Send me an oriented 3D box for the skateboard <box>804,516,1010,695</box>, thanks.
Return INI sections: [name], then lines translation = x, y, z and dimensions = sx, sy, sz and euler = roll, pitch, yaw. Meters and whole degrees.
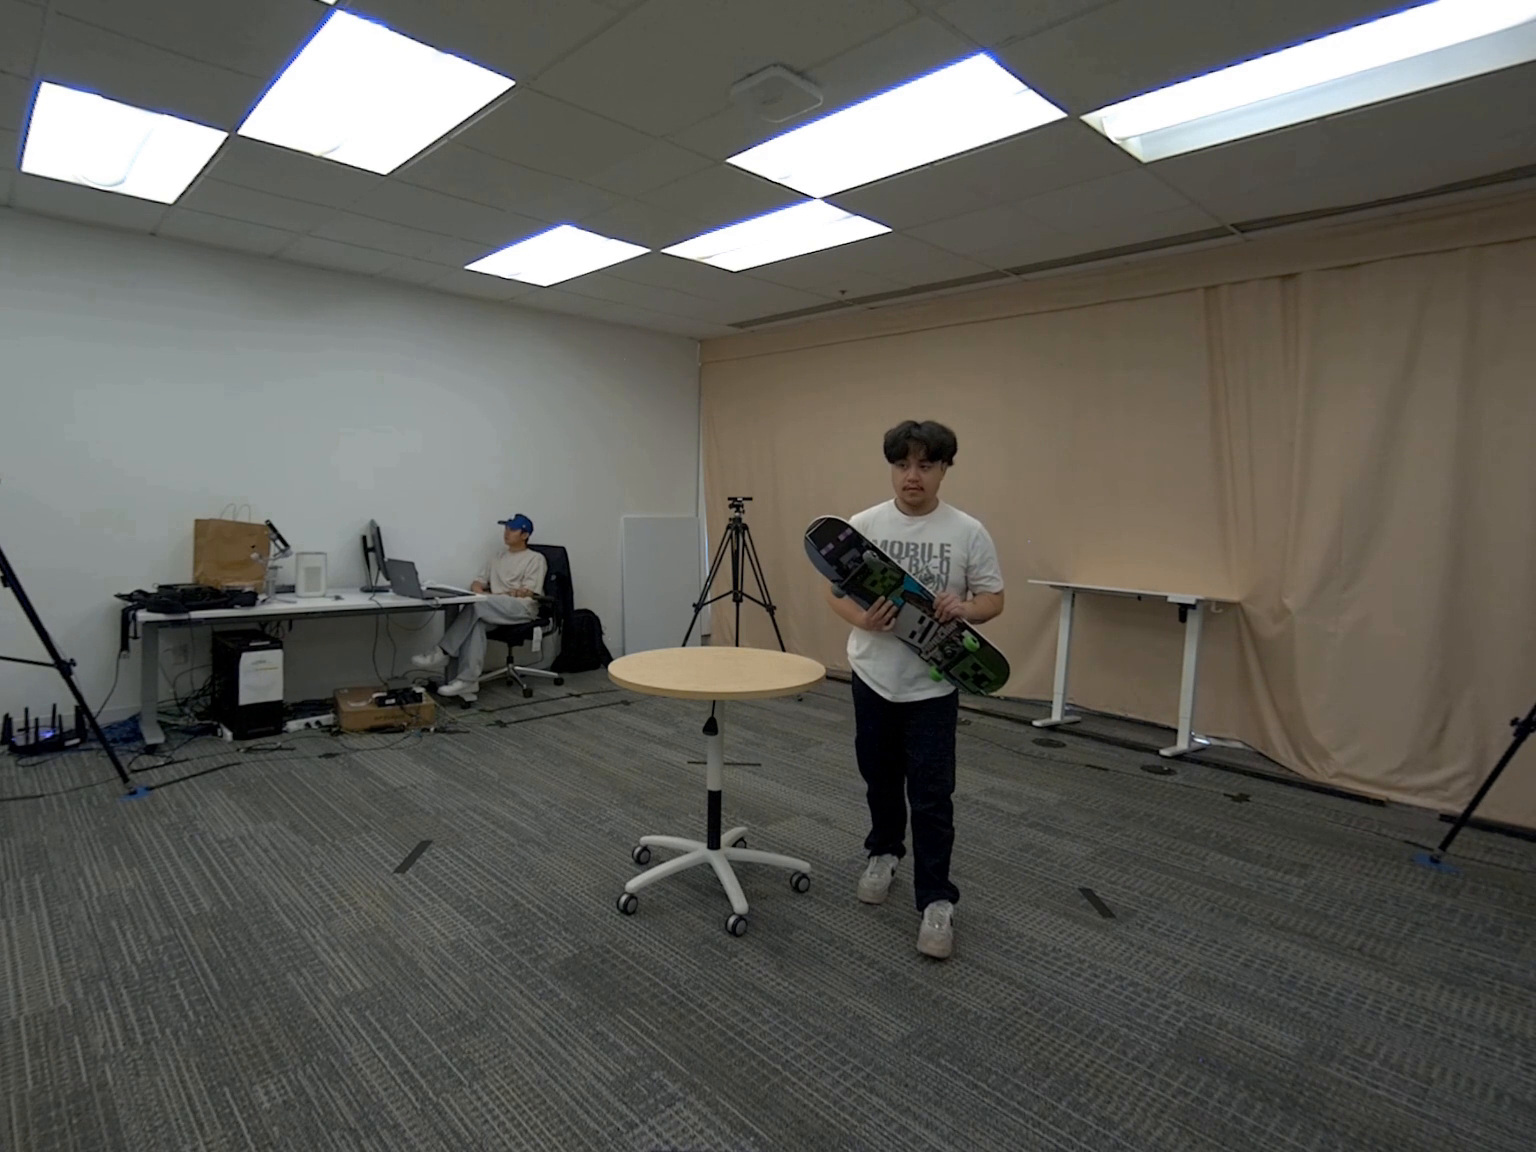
[skateboard]
translation = 0.418, 0.111, 2.588
dimensions = 0.784, 0.193, 0.110
euler = 40, 28, -1
